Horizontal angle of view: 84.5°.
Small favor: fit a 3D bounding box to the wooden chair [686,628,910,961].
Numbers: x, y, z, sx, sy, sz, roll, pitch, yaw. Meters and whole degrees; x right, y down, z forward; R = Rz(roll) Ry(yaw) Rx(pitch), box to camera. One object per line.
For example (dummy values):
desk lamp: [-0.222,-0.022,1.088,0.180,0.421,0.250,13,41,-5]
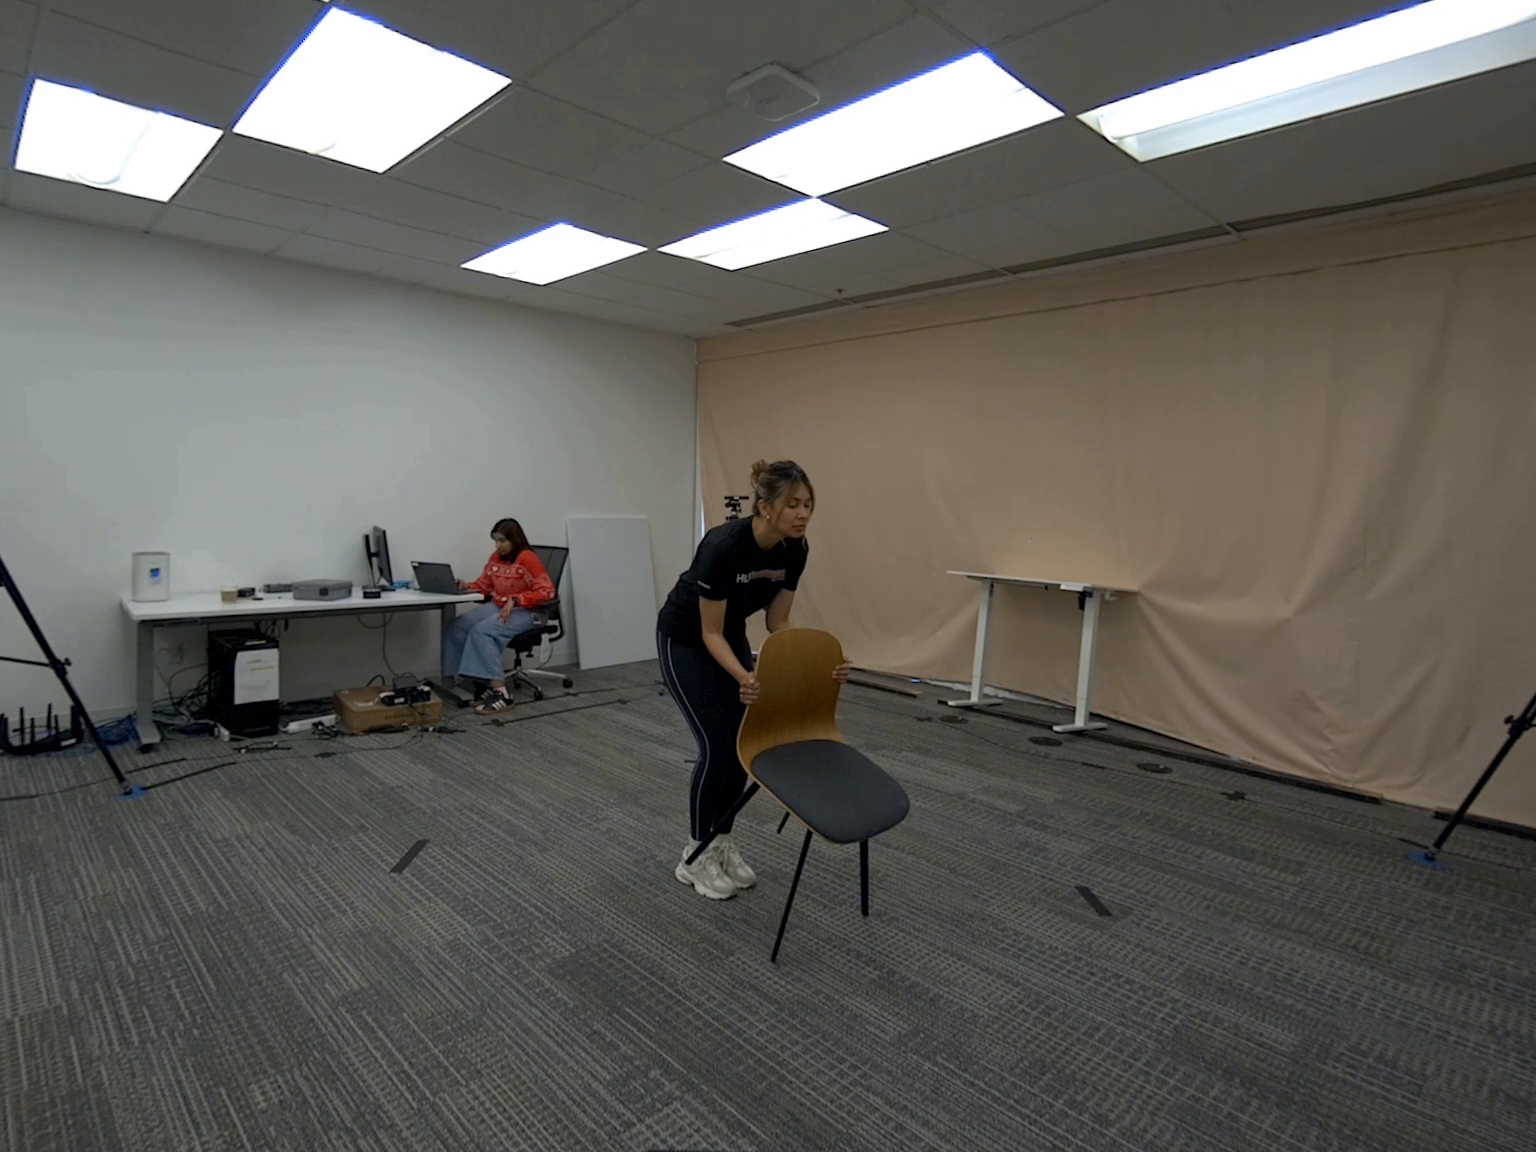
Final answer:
wooden chair: [0.149,0.674,2.675,0.467,0.870,0.539,-2,22,-44]
